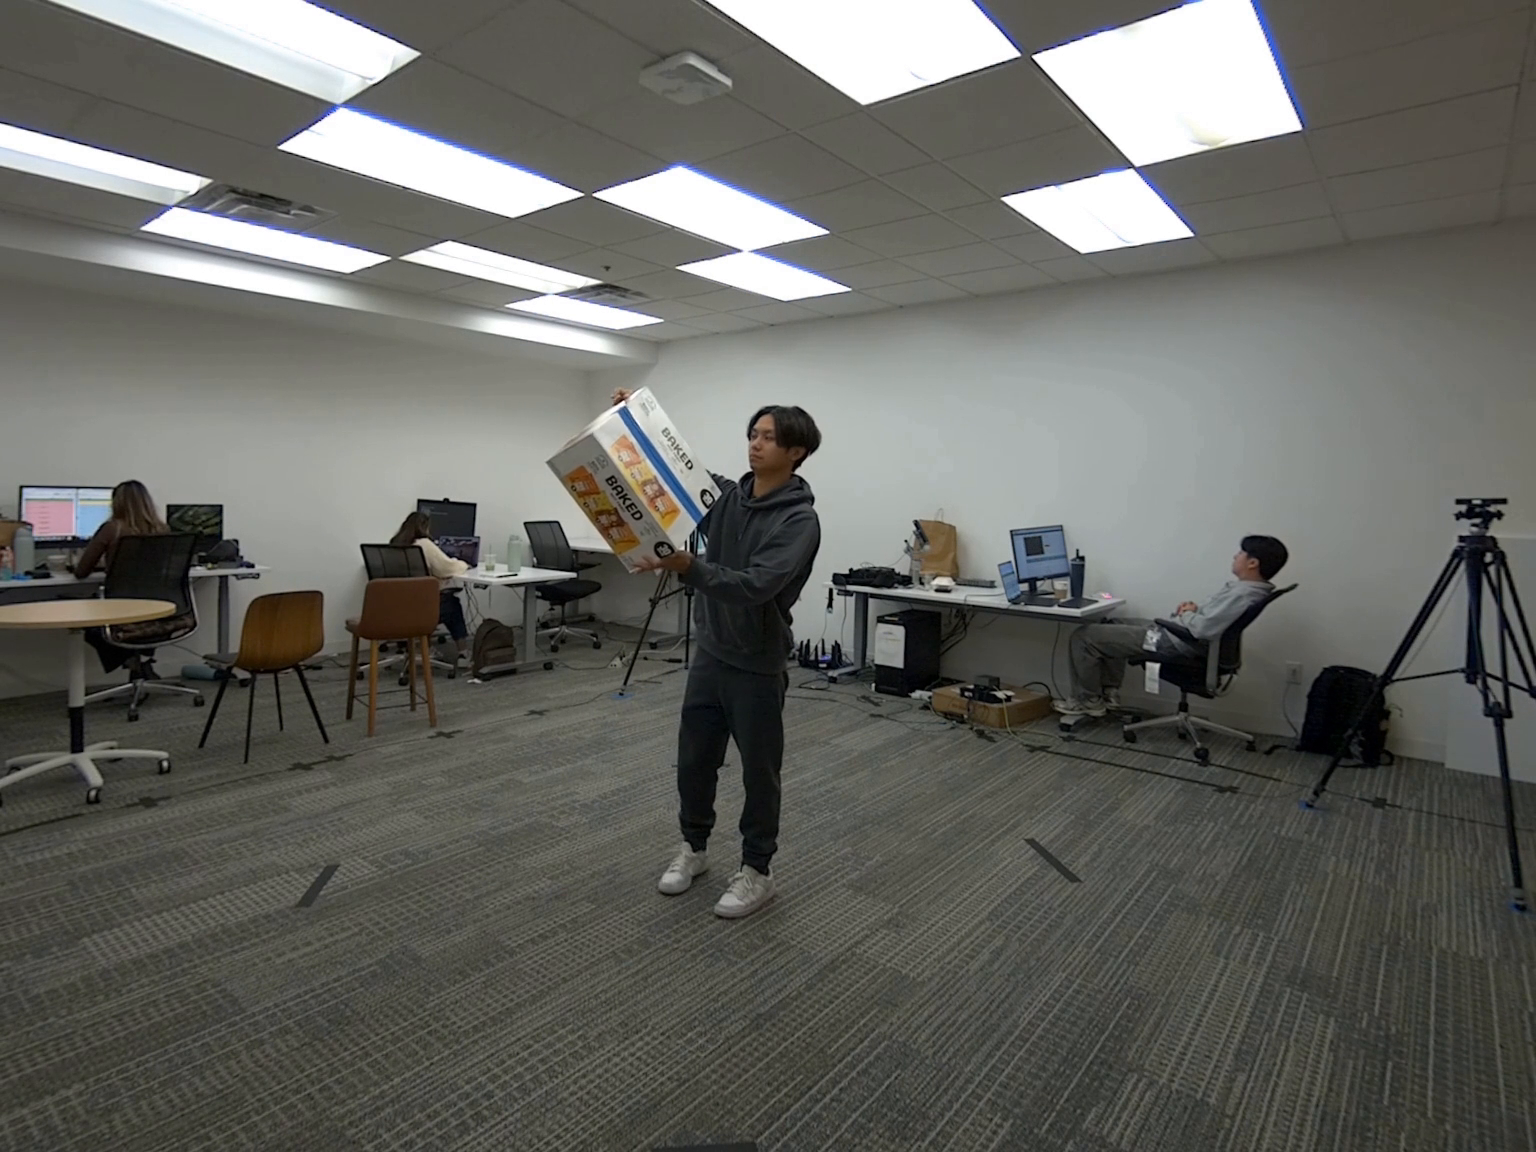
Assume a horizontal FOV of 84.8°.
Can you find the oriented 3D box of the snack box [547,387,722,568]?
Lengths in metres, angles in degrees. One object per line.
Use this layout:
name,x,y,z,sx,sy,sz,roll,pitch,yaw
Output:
snack box,-0.393,-0.288,2.498,0.209,0.397,0.342,-24,20,34
